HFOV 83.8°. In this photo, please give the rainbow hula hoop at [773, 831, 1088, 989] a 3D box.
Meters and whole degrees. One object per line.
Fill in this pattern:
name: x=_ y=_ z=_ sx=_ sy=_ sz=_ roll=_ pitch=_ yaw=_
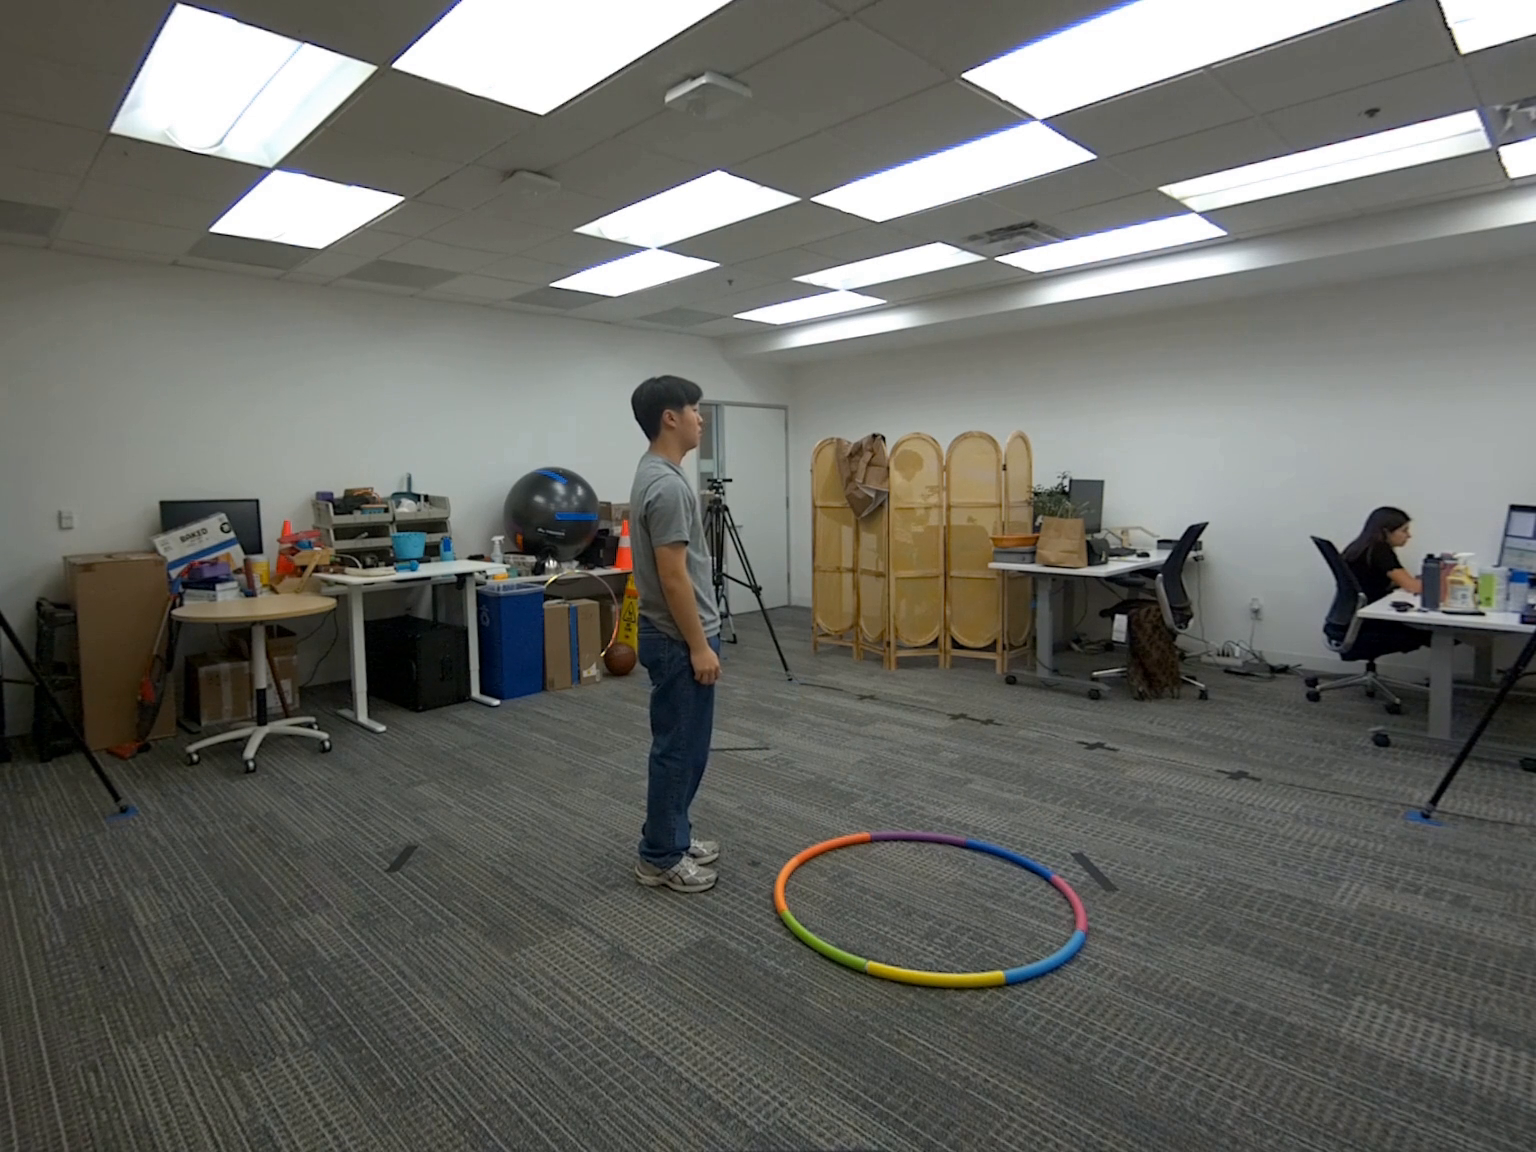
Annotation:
rainbow hula hoop: x=0.507 y=1.040 z=2.811 sx=0.978 sy=0.035 sz=0.984 roll=-2 pitch=7 yaw=-2
